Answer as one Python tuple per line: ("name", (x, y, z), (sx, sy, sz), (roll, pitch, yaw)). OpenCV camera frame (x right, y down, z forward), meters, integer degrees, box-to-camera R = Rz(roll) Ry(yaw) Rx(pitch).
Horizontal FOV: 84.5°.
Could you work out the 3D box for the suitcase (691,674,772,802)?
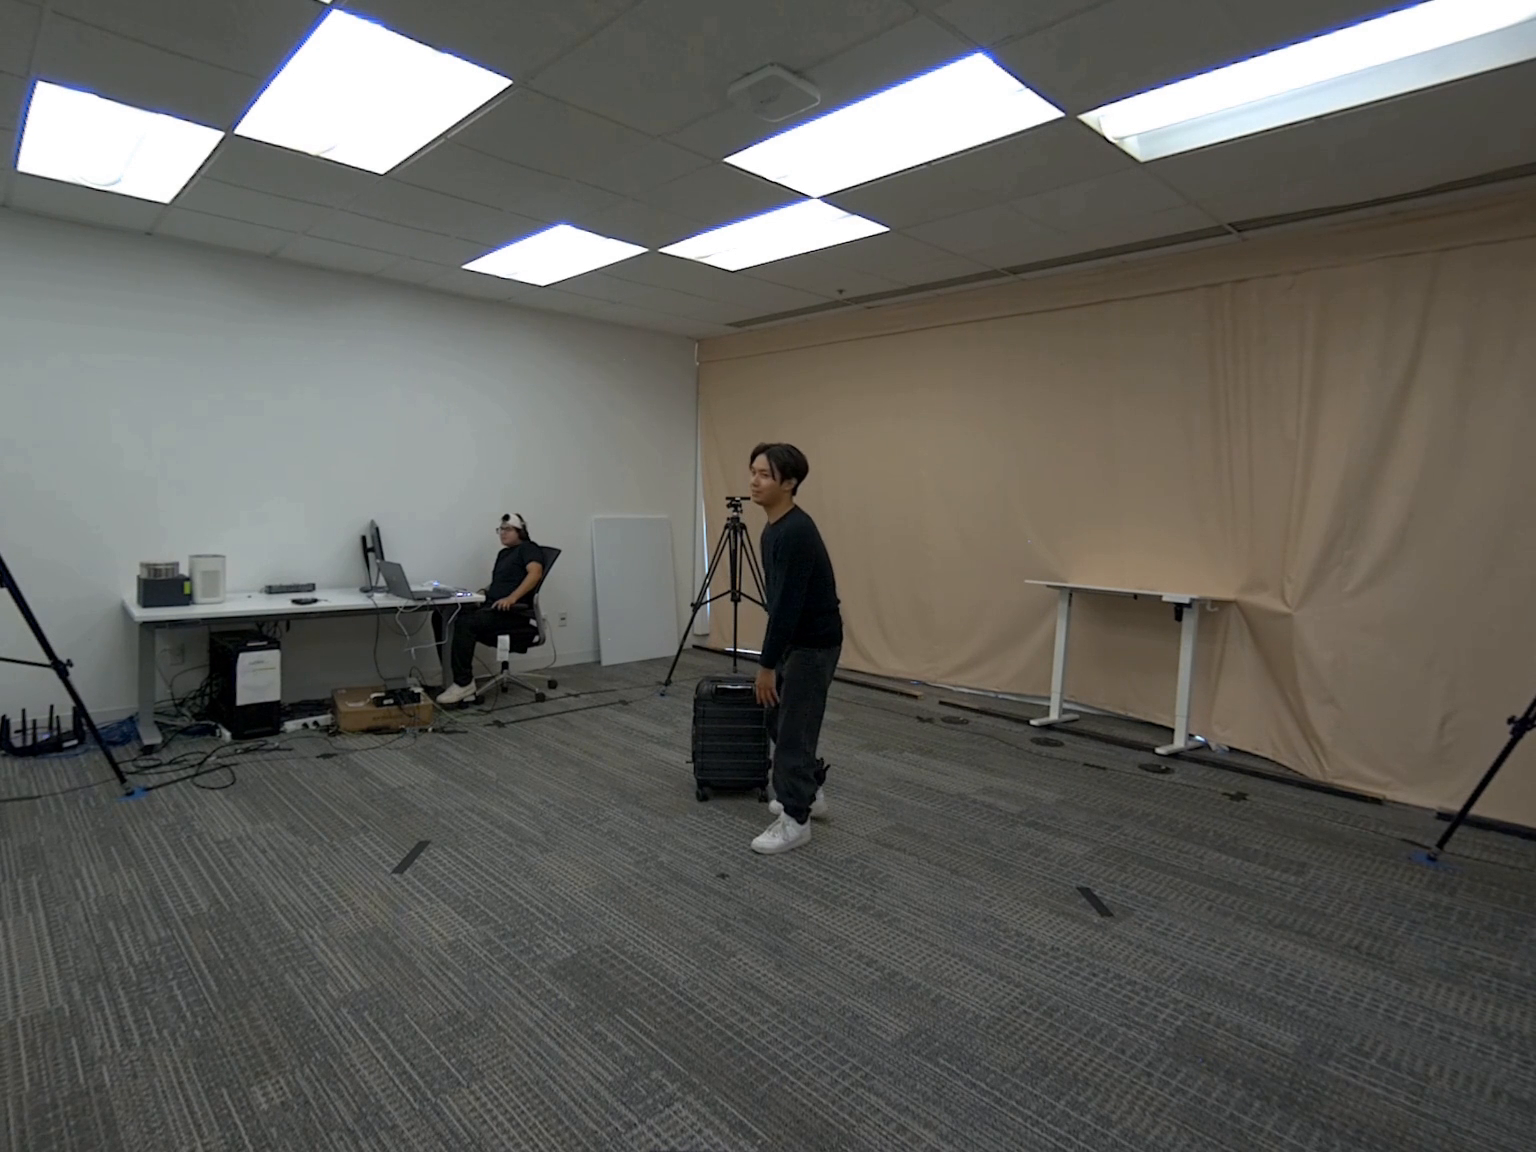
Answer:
("suitcase", (-0.186, 0.751, 4.008), (0.374, 0.548, 0.249), (1, 2, -4))
